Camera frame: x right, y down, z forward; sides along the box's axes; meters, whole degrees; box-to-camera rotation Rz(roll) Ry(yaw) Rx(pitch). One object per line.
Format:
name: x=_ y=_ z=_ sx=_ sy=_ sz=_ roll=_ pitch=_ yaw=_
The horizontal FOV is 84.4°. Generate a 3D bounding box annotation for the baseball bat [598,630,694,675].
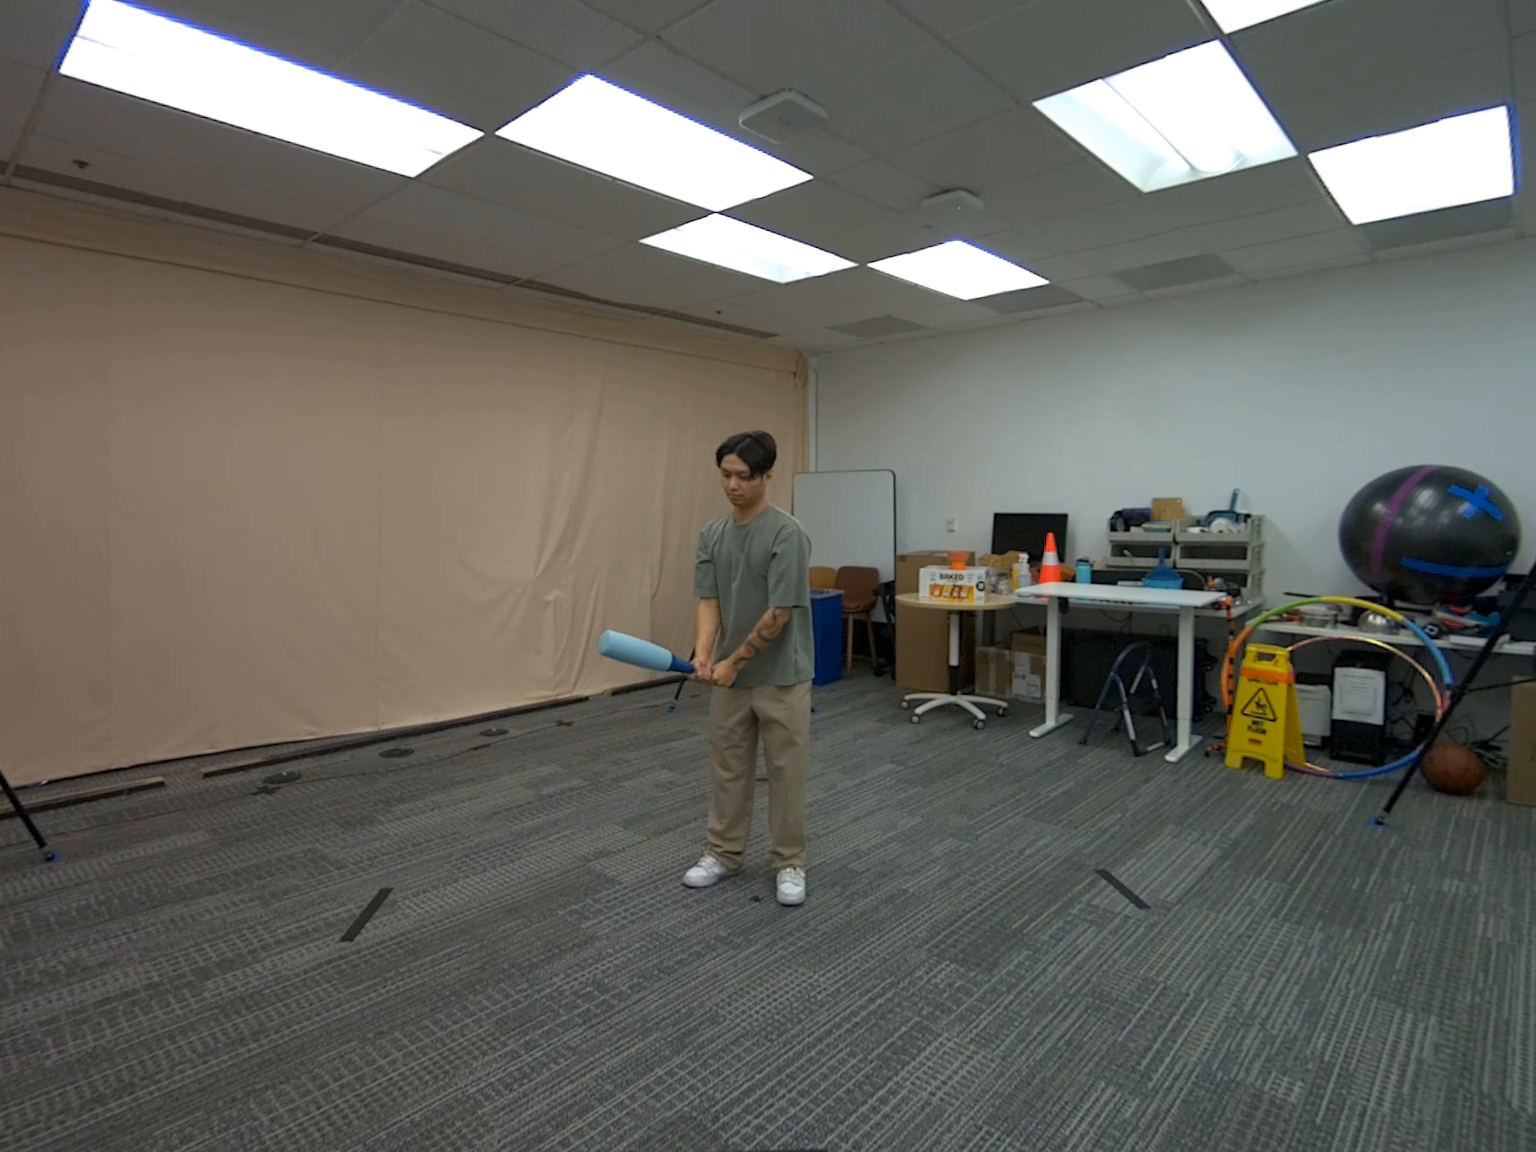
baseball bat: x=-0.333 y=0.314 z=2.842 sx=0.526 sy=0.089 sz=0.091 roll=23 pitch=-9 yaw=-29
